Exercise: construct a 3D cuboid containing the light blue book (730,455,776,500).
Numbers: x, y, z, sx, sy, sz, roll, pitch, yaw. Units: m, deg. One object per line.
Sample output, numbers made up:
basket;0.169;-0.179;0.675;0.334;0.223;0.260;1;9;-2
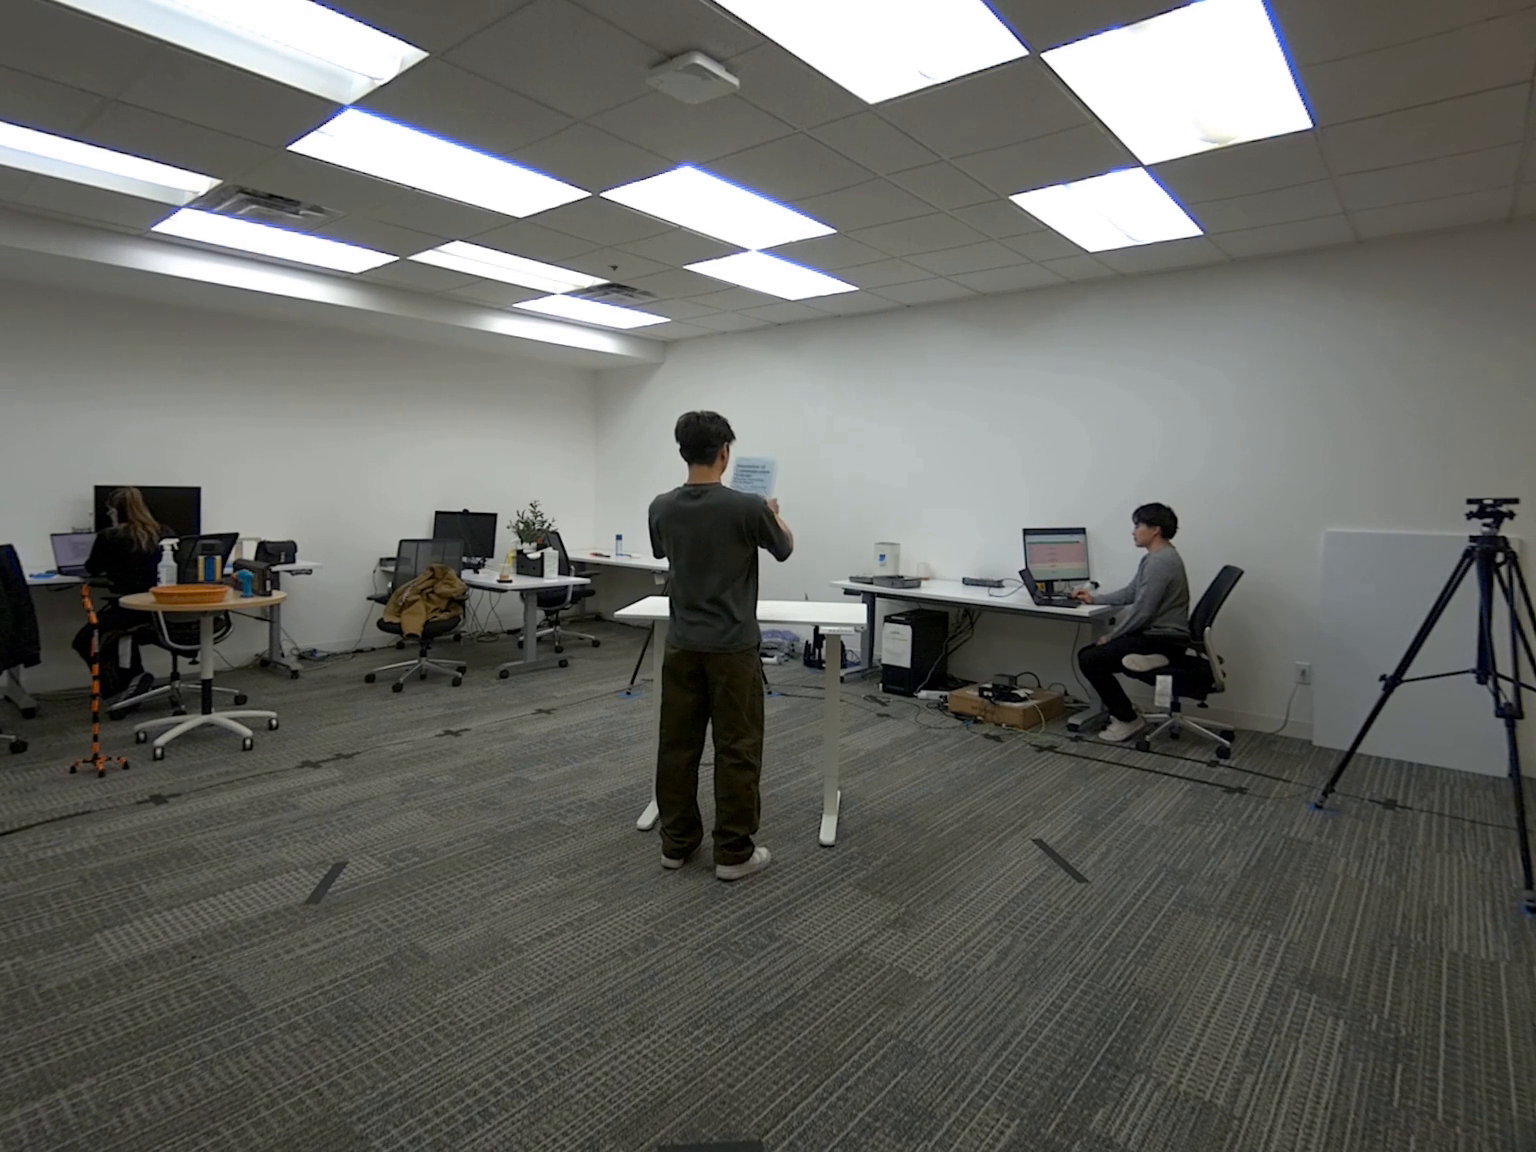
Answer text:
light blue book;-0.080;-0.371;3.543;0.195;0.265;0.057;3;-20;16
